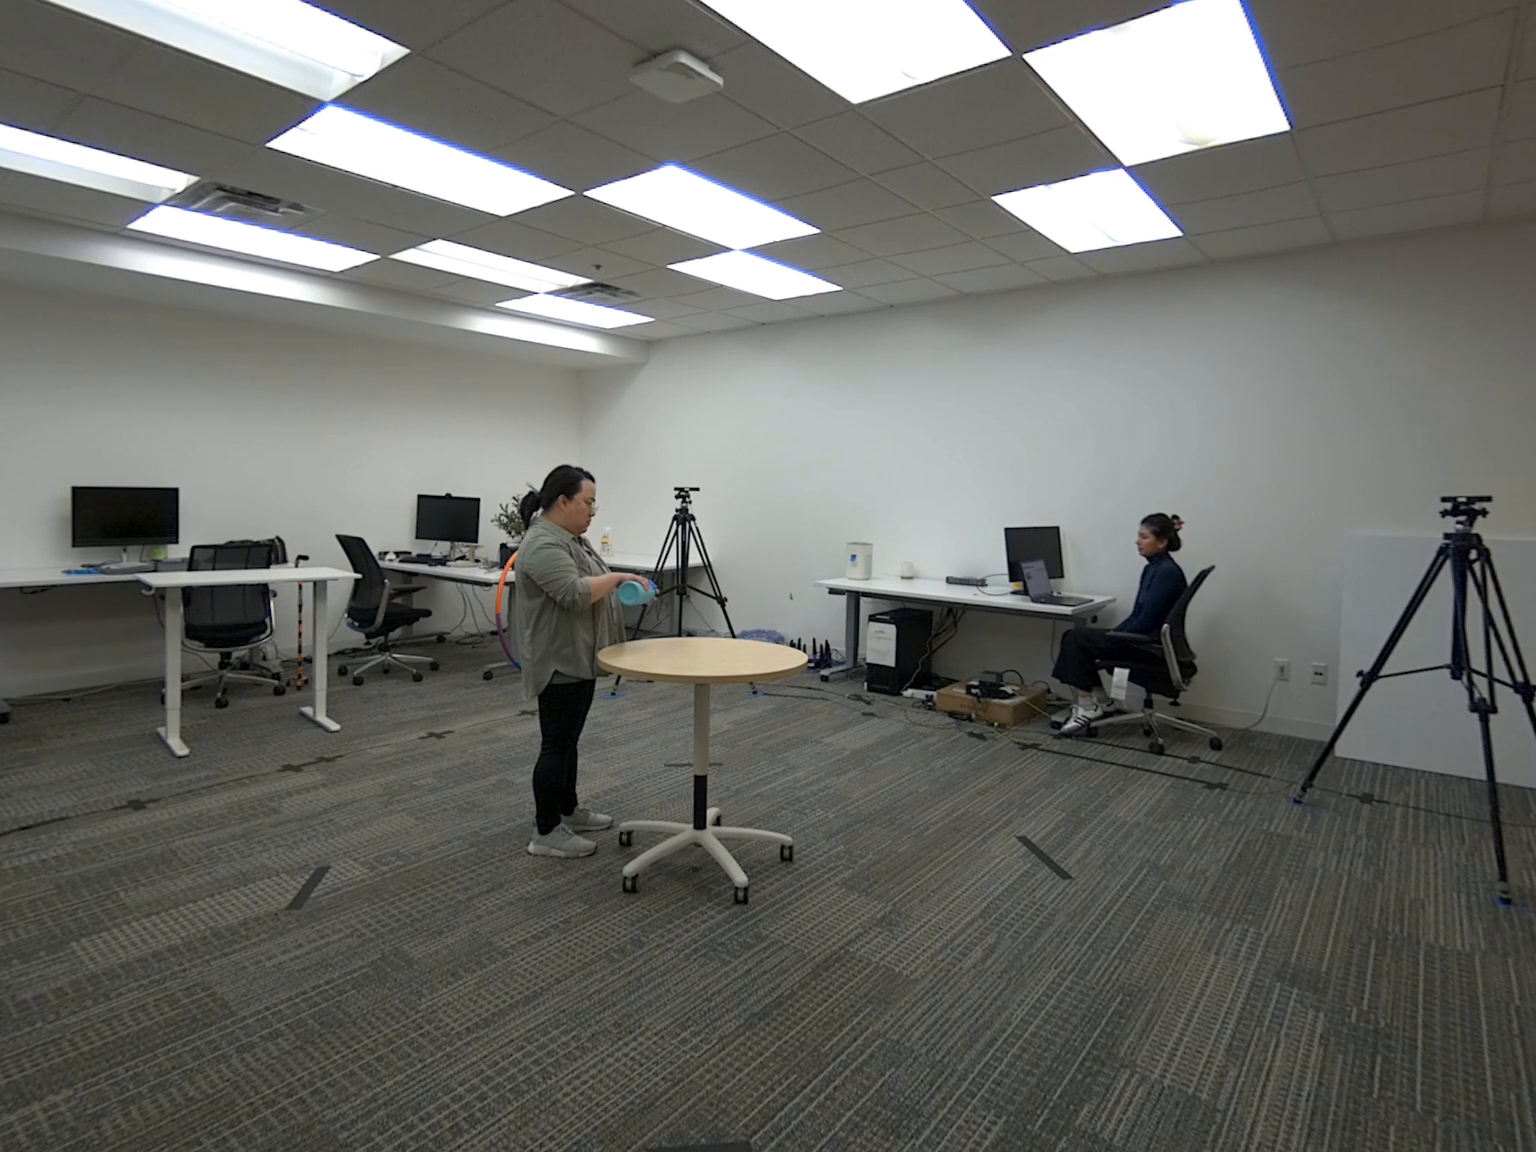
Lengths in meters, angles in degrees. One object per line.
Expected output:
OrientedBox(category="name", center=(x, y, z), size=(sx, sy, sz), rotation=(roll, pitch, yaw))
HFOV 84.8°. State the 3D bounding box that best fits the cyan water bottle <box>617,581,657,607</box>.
OrientedBox(category="cyan water bottle", center=(-0.510, 0.065, 3.297), size=(0.093, 0.092, 0.280), rotation=(2, 2, 8))
